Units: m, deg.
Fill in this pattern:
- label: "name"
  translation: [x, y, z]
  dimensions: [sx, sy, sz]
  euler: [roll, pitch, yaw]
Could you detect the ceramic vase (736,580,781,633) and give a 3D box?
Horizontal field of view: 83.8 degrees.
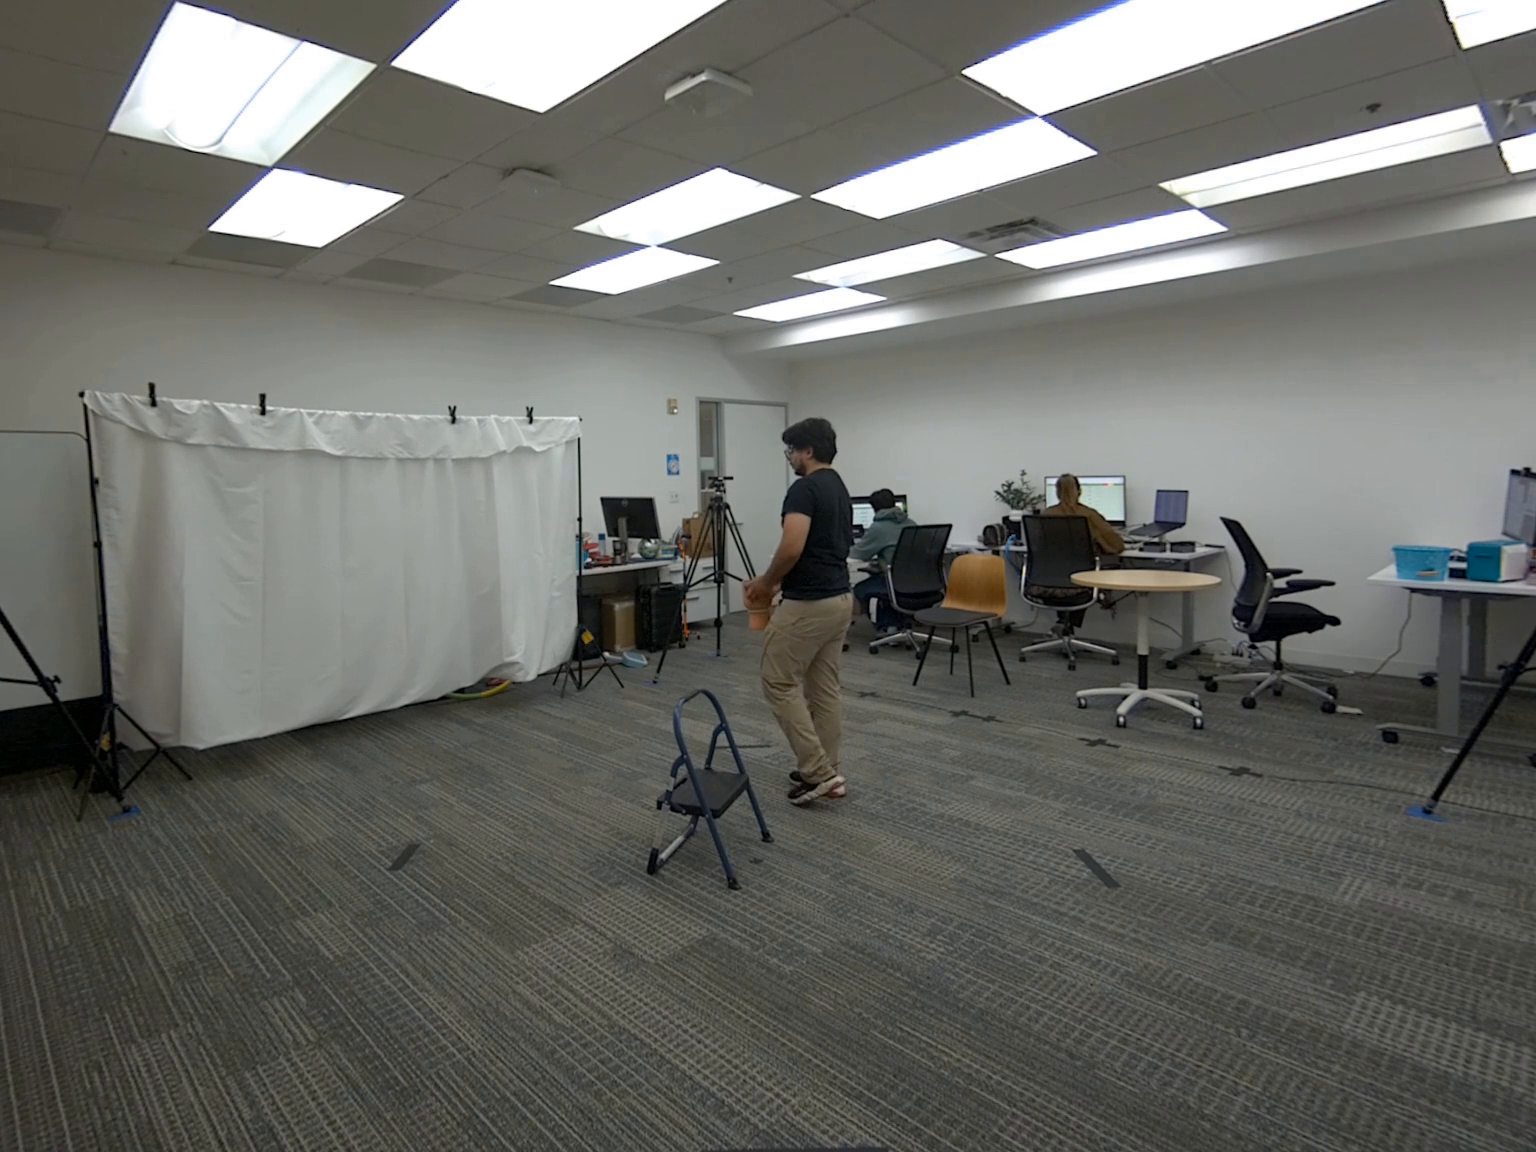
- label: "ceramic vase"
  translation: [-0.033, 0.128, 3.857]
  dimensions: [0.155, 0.220, 0.138]
  euler: [-4, 0, -31]
